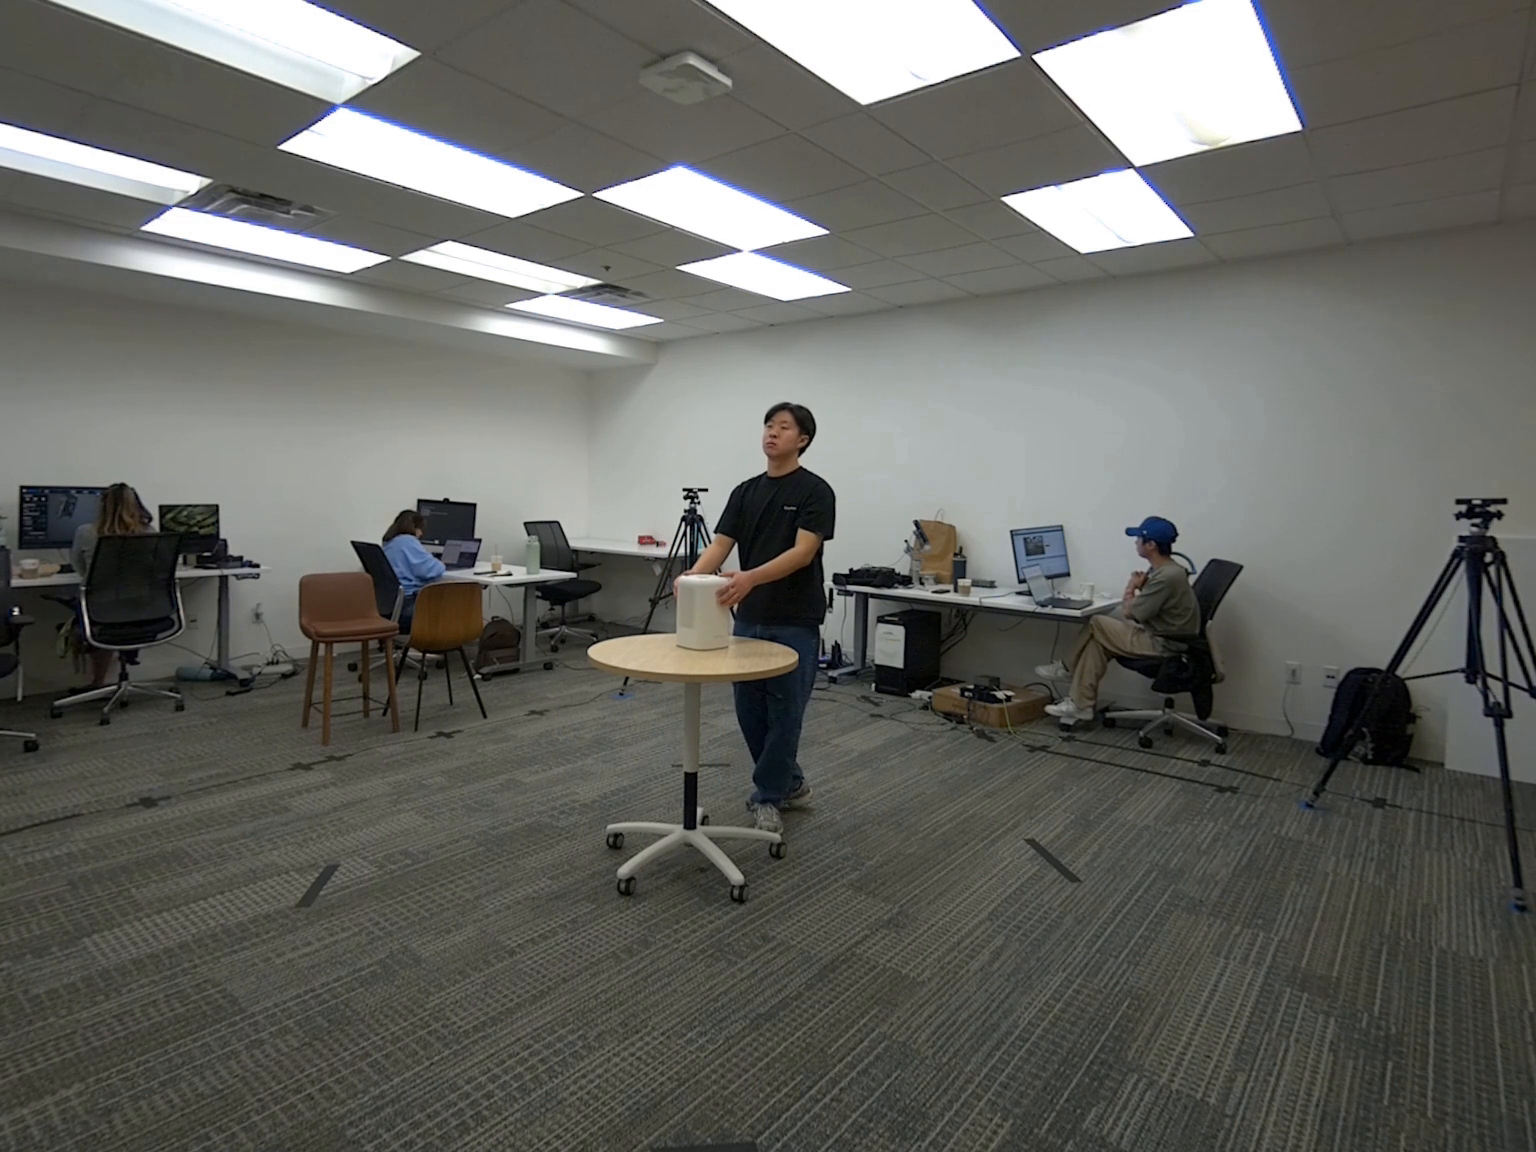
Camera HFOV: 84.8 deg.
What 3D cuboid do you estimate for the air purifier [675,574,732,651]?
[{"bbox_3d":[-0.263,0.129,3.207,0.166,0.265,0.177,-1,3,-41],"label":"air purifier"}]
